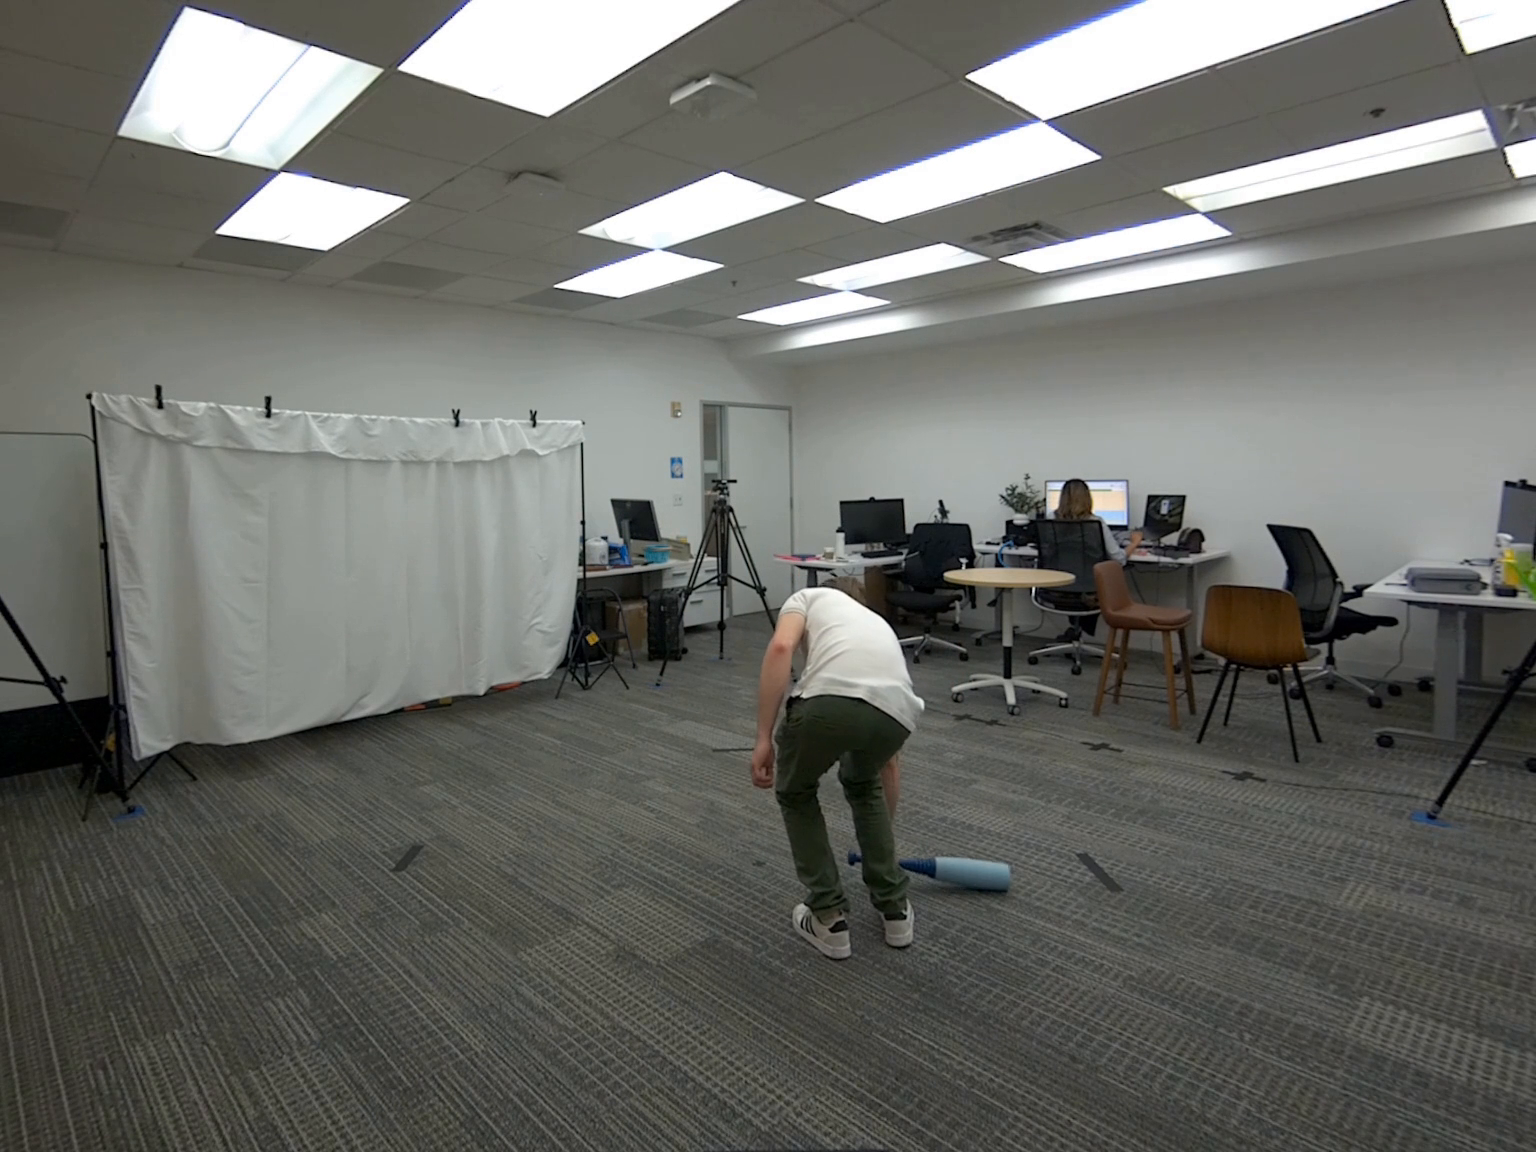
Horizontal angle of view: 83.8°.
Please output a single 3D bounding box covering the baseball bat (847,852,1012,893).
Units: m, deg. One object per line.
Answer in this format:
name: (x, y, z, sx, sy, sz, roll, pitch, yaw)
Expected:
baseball bat: (0.548, 0.985, 2.900, 0.546, 0.089, 0.089, 5, 5, 6)
